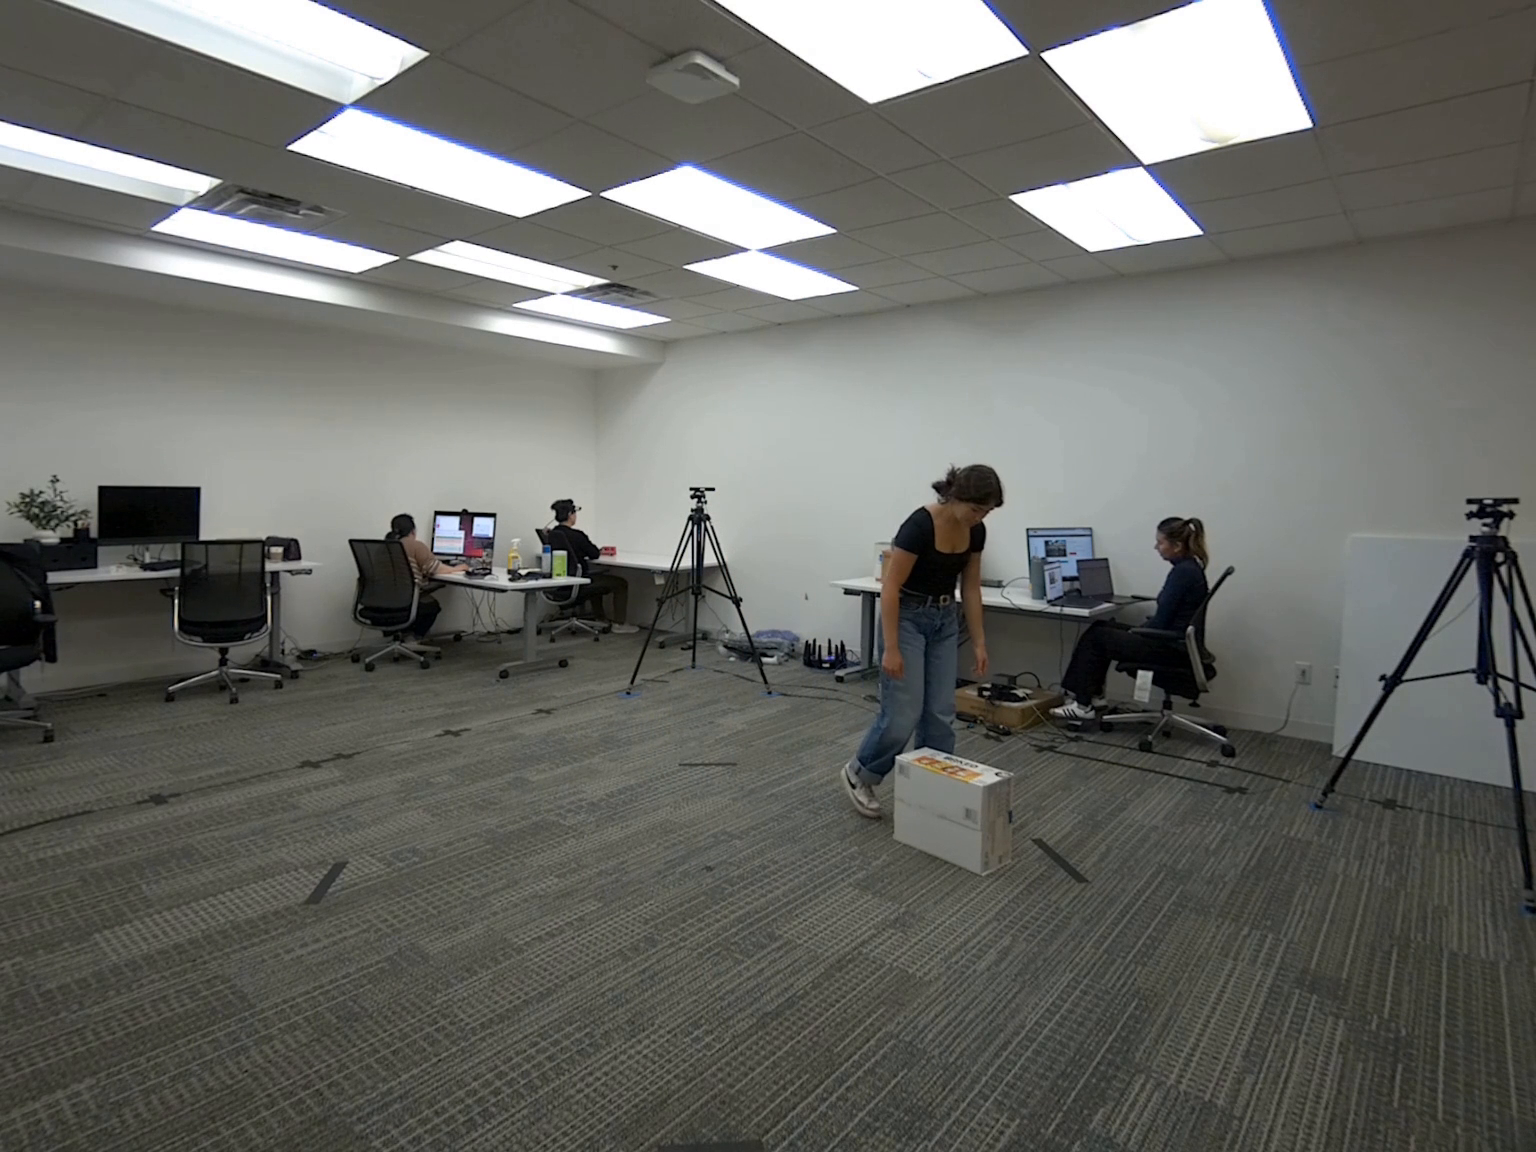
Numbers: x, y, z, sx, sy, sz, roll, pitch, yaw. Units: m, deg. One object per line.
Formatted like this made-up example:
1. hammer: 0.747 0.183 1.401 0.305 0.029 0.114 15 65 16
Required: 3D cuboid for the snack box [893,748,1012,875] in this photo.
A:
1. snack box: 0.713 0.897 3.308 0.200 0.339 0.419 -4 7 -42
